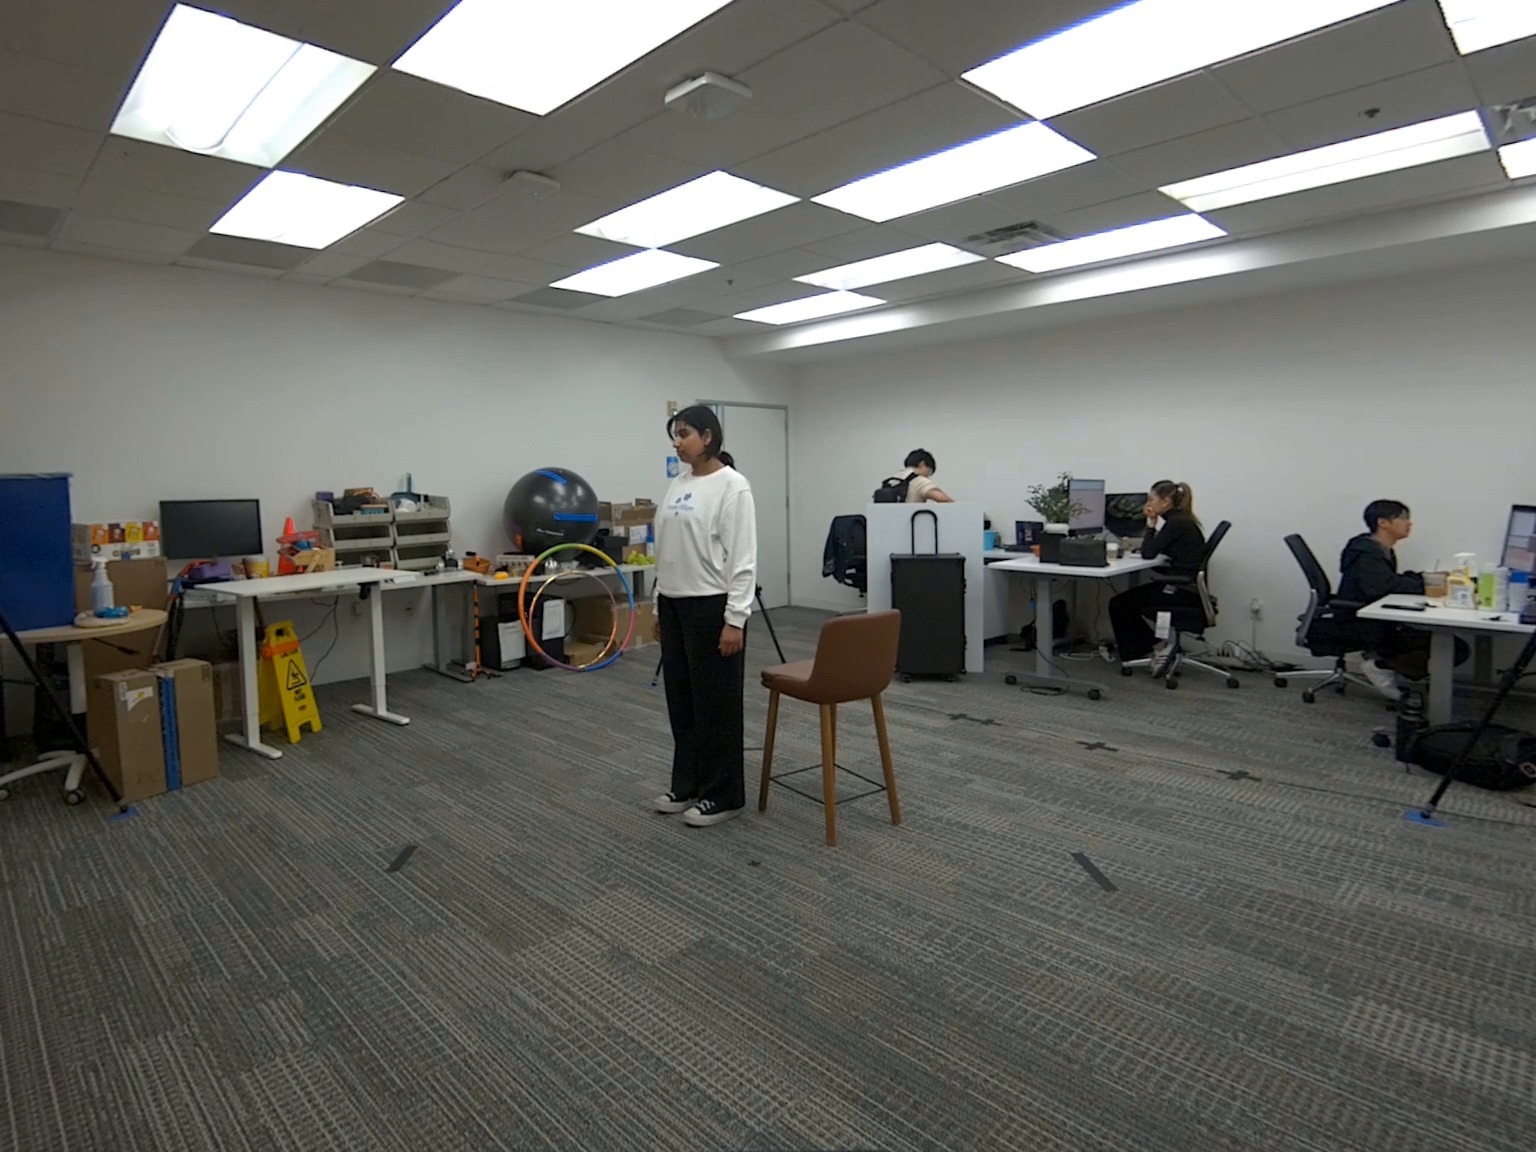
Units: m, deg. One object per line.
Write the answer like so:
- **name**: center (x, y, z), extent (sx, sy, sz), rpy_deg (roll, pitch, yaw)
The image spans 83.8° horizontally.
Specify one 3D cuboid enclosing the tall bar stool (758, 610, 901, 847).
- **tall bar stool**: center (0.254, 0.561, 3.497), extent (0.445, 0.885, 0.482), rpy_deg (-4, 7, -35)
